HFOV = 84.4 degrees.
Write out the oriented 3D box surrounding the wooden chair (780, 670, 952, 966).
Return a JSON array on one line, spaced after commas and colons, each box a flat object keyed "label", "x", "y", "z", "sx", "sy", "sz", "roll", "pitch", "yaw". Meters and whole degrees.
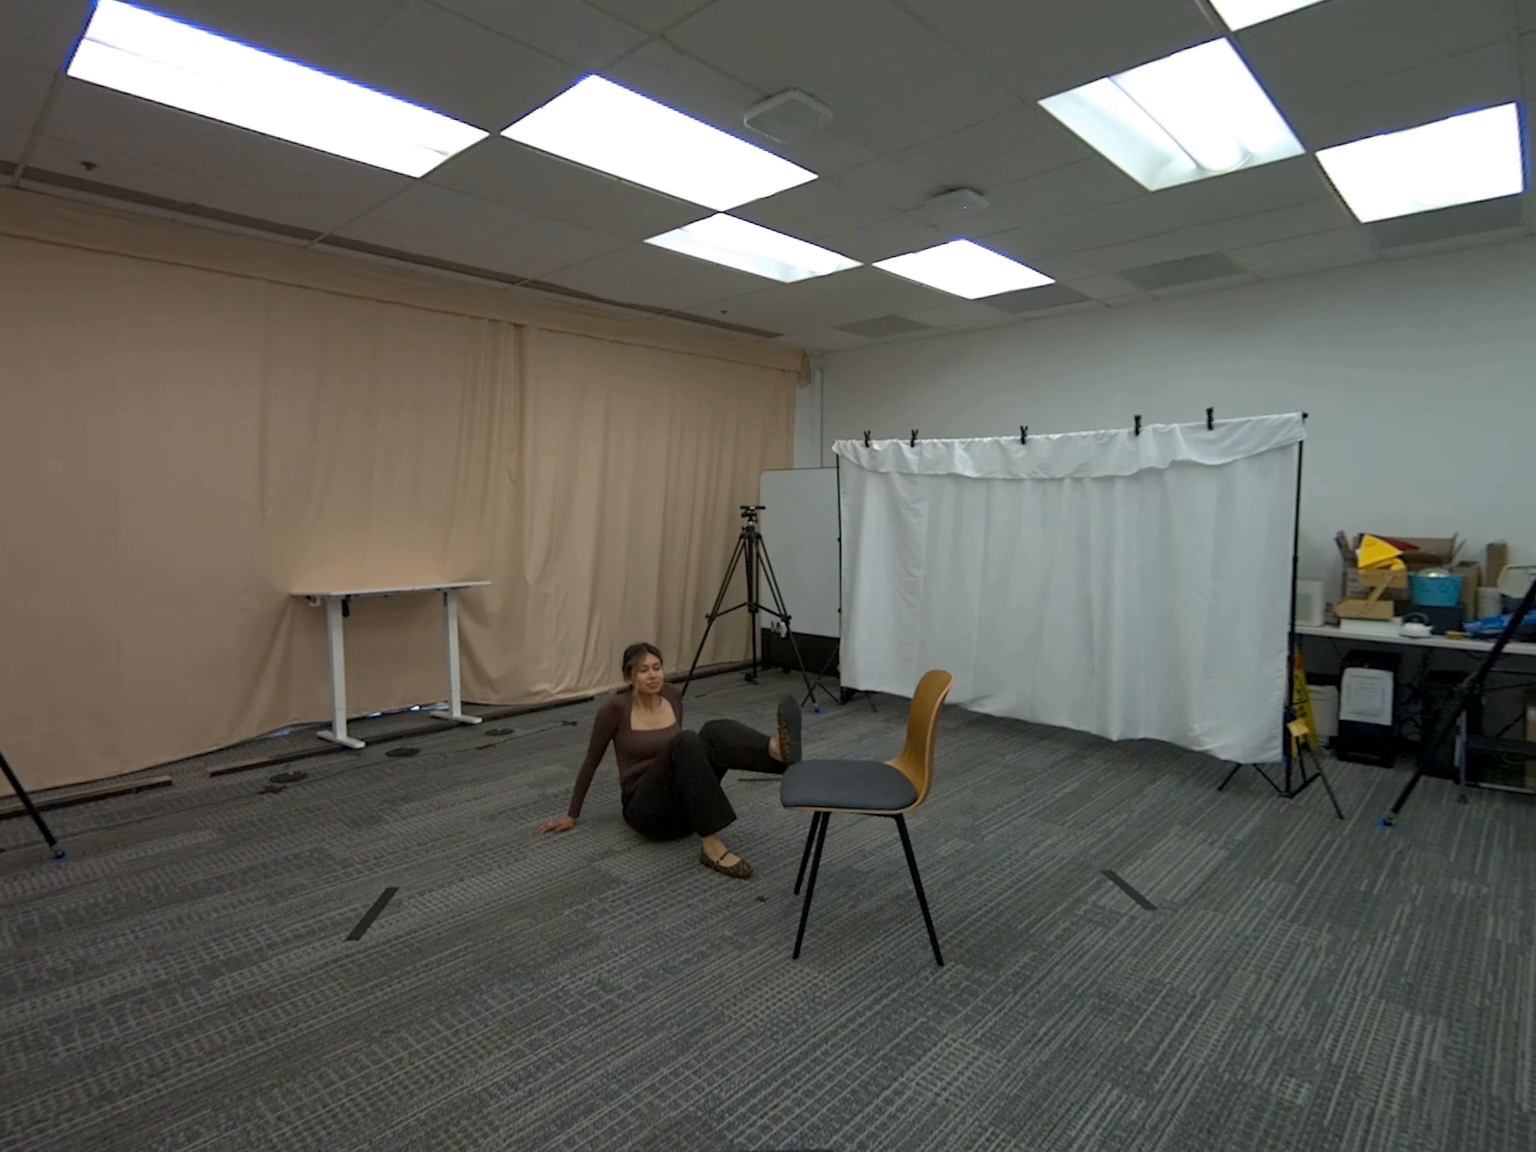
[{"label": "wooden chair", "x": 0.309, "y": 0.734, "z": 2.754, "sx": 0.526, "sy": 0.875, "sz": 0.476, "roll": 4, "pitch": 4, "yaw": 4}]
